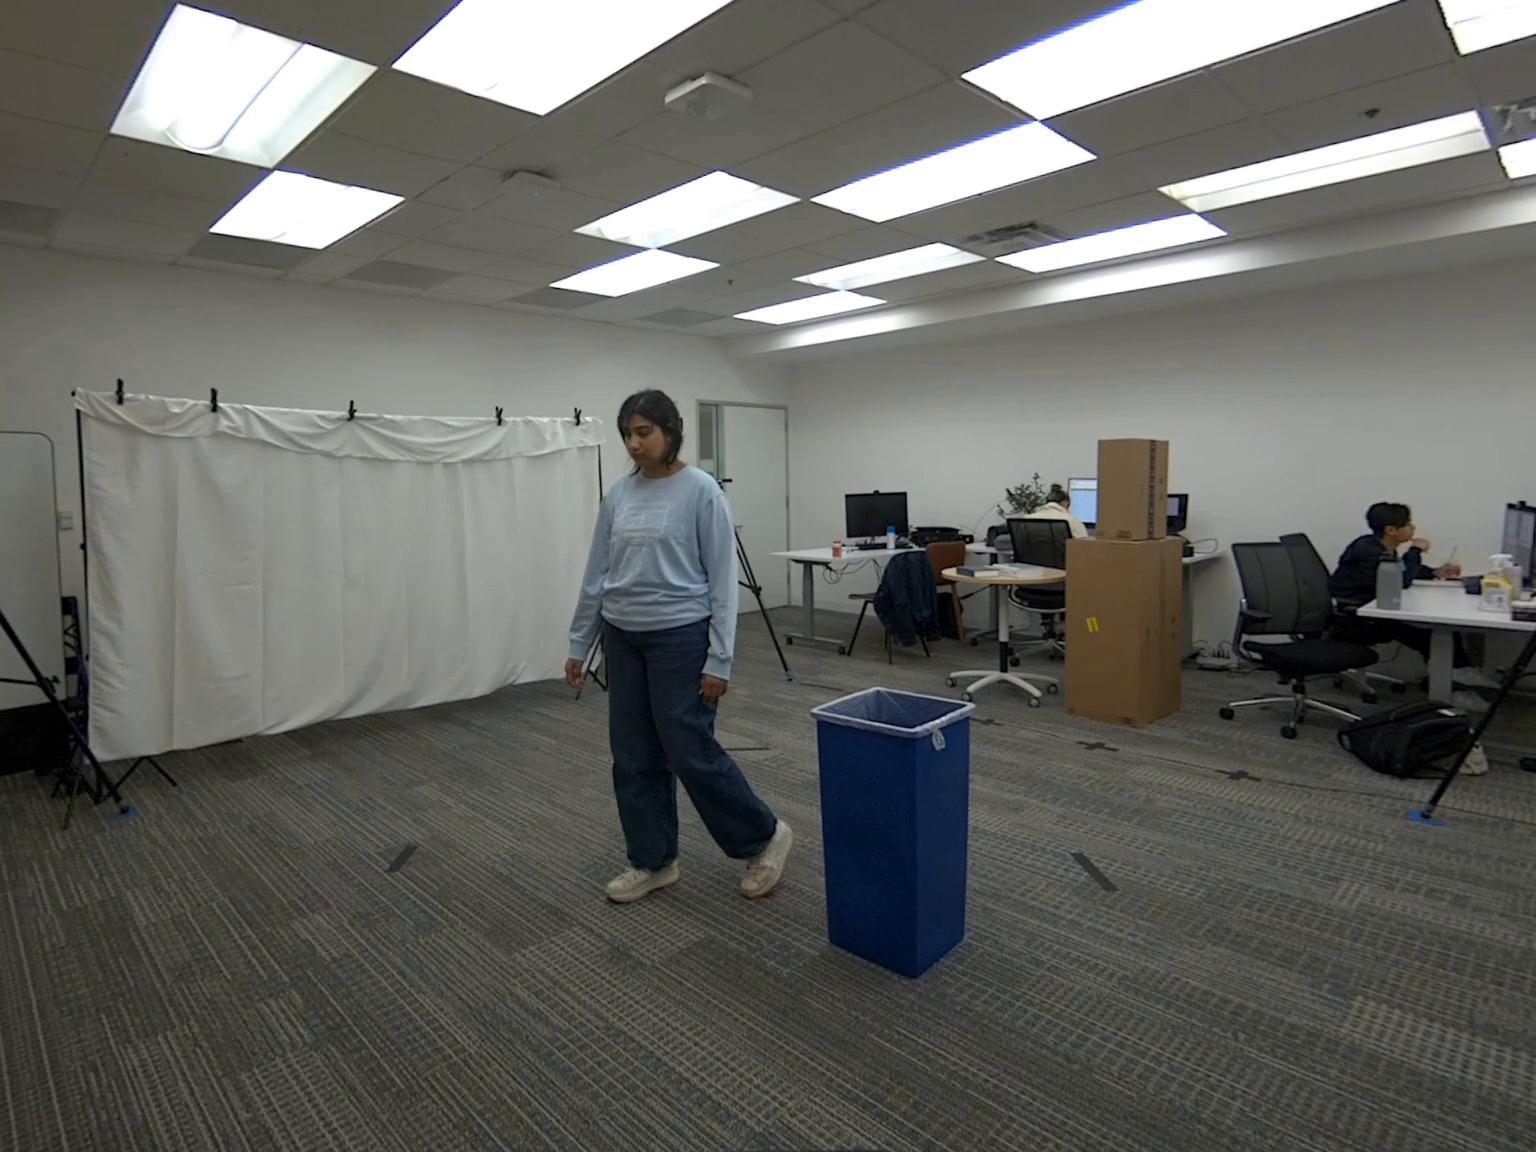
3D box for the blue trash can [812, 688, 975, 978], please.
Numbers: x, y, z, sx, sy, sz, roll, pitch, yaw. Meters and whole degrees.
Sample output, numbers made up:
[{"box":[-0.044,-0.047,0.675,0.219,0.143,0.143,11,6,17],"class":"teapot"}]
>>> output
[{"box":[0.388,0.744,2.564,0.389,0.711,0.364,2,5,42],"class":"blue trash can"}]
